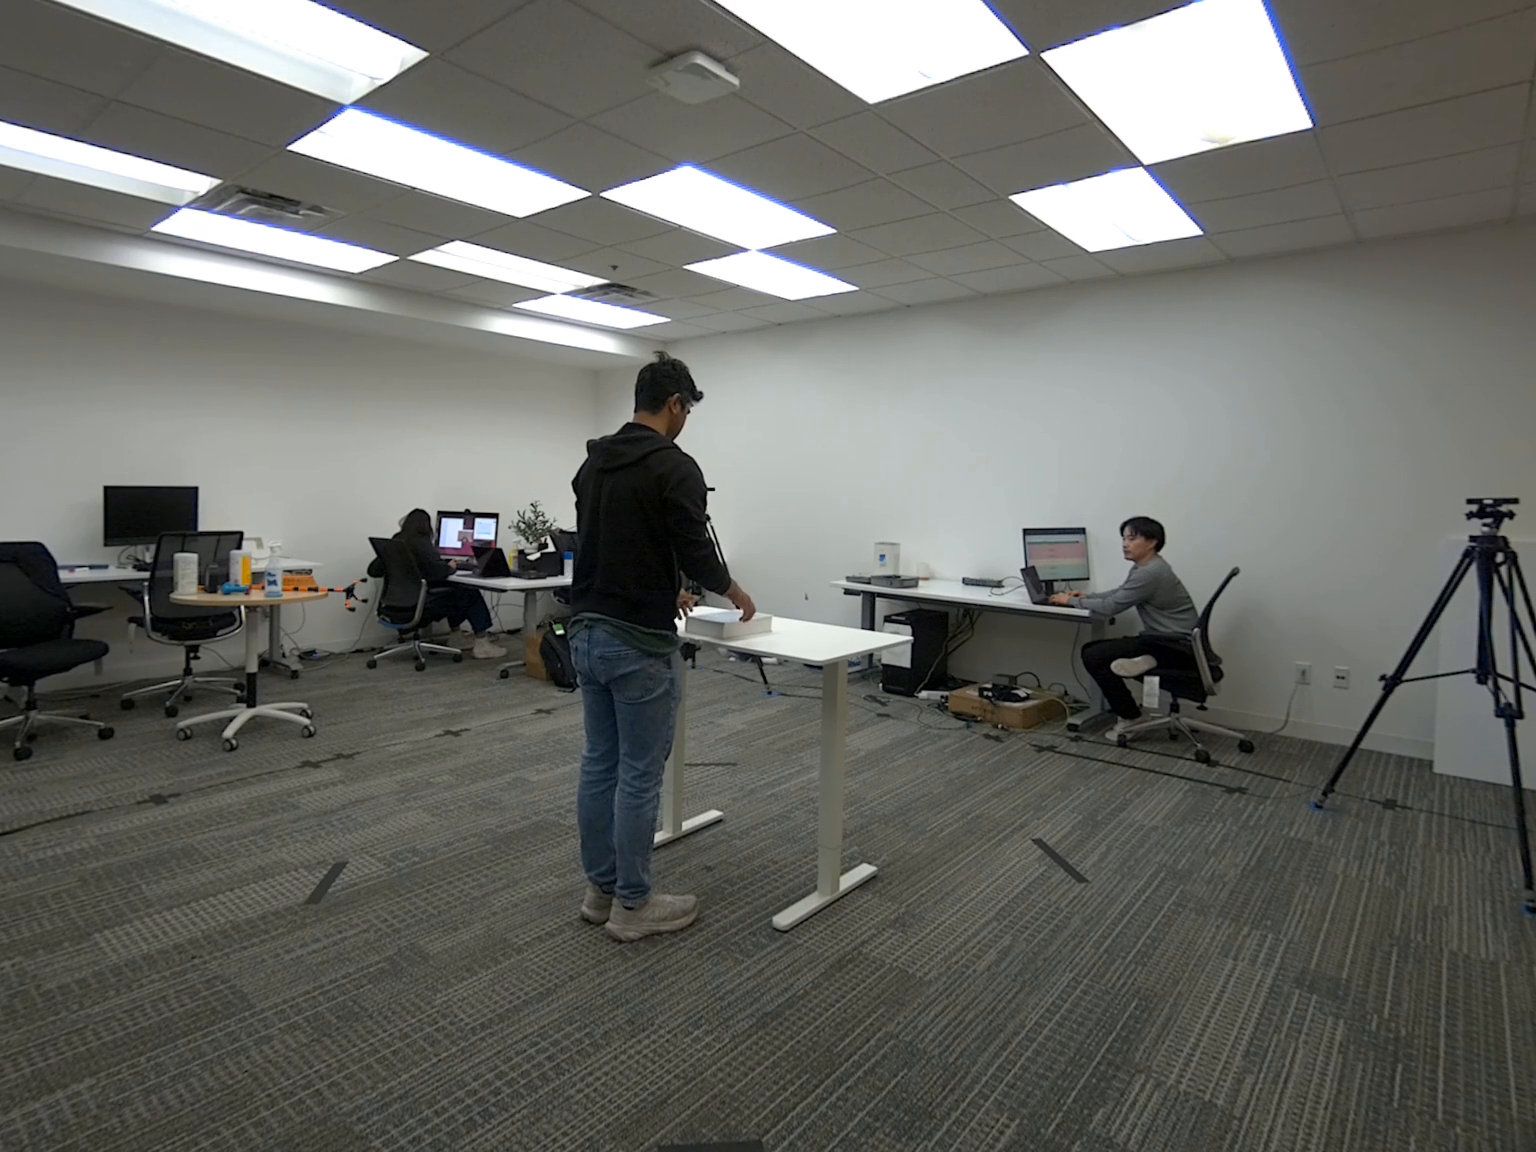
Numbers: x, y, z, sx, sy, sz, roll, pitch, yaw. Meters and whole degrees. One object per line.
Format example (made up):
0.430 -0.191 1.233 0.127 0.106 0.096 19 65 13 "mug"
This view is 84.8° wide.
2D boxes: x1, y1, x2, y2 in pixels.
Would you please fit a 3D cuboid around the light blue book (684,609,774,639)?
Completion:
-0.142 0.167 3.010 0.198 0.059 0.253 6 7 42 "light blue book"
